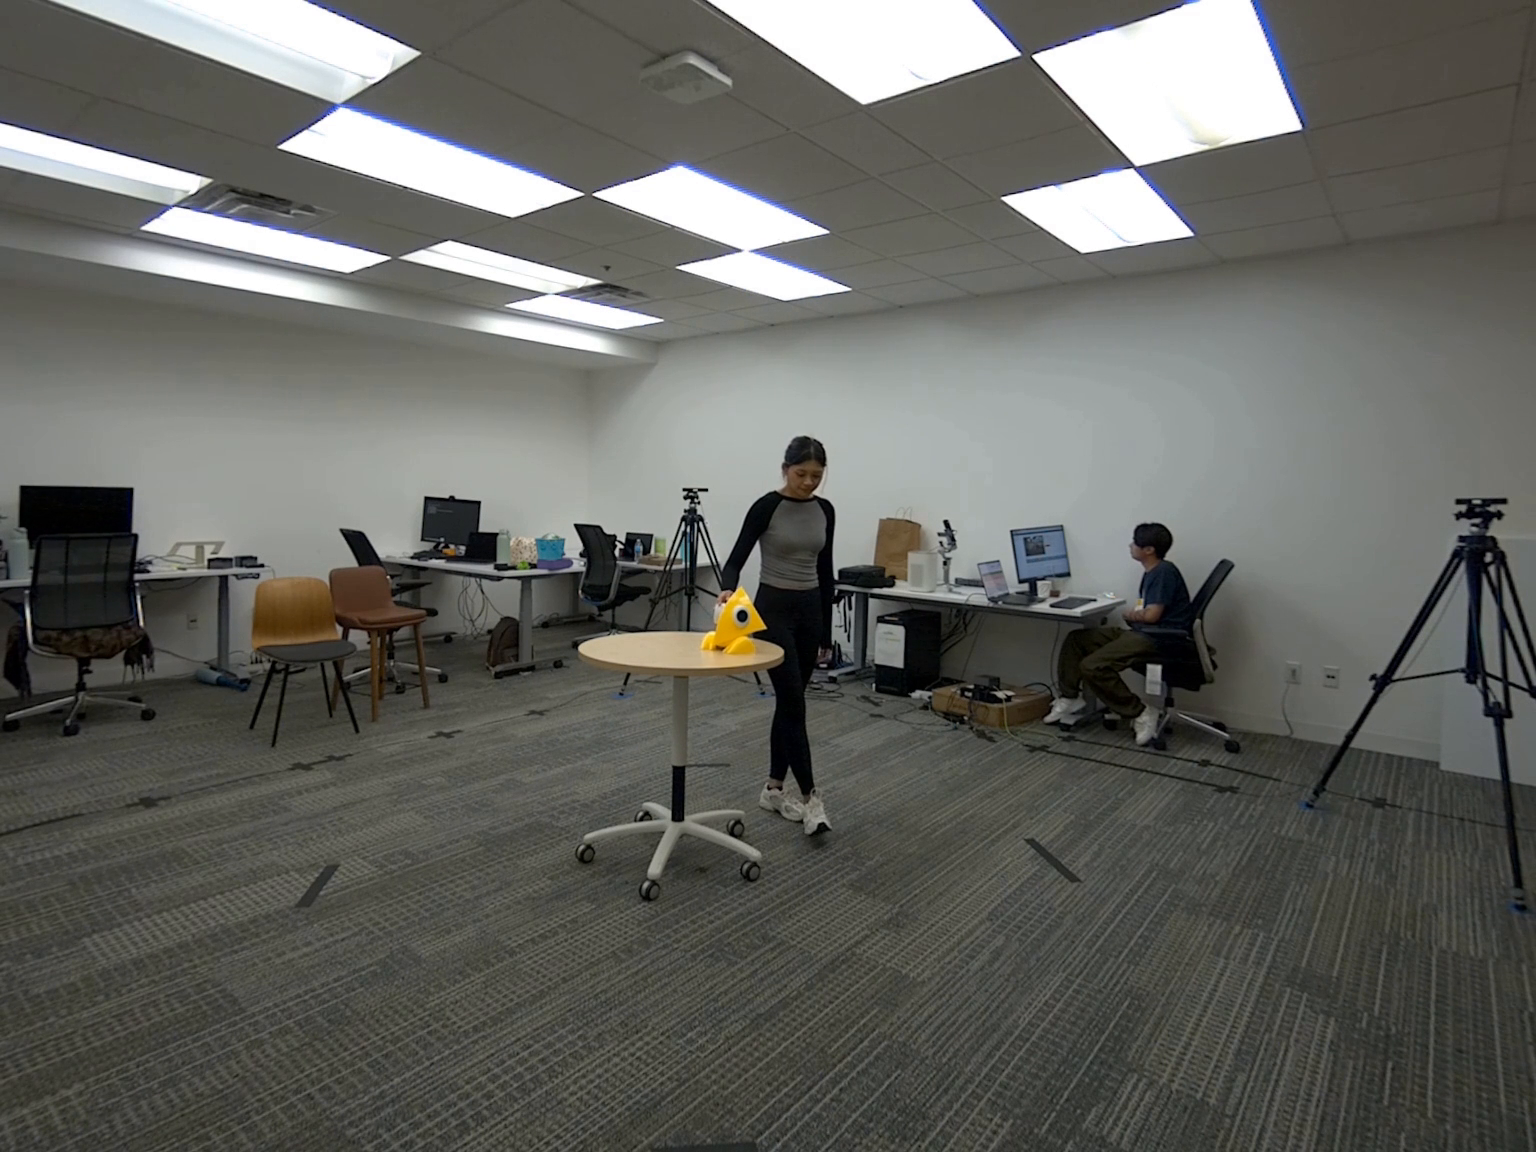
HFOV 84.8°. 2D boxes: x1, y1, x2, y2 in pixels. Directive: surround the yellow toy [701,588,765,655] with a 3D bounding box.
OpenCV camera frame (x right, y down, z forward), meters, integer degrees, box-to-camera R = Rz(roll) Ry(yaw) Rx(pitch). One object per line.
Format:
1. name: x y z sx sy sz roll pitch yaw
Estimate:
1. yellow toy: -0.149 0.156 3.191 0.211 0.230 0.187 4 4 38
